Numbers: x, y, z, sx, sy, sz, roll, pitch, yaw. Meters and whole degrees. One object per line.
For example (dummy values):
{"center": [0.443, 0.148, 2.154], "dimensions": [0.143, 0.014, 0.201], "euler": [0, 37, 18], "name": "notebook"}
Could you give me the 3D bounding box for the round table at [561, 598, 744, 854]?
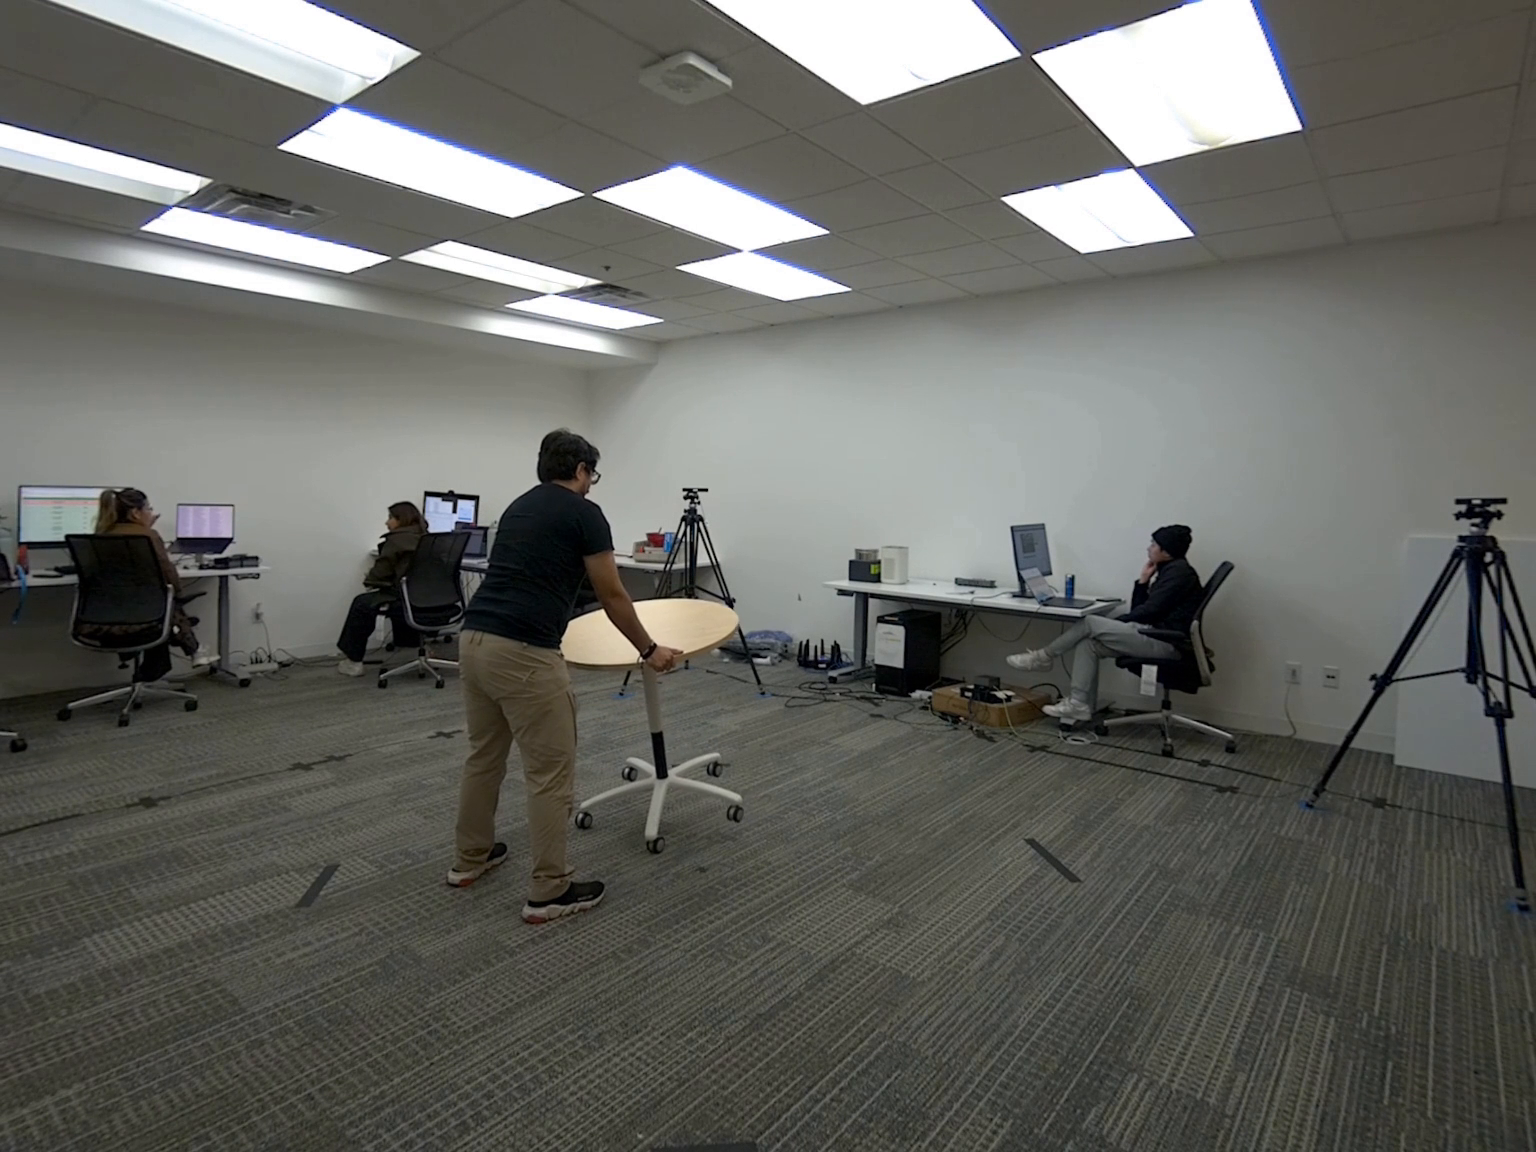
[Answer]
{"center": [-0.476, 0.591, 3.469], "dimensions": [0.785, 0.776, 0.796], "euler": [-6, 13, 0], "name": "round table"}
